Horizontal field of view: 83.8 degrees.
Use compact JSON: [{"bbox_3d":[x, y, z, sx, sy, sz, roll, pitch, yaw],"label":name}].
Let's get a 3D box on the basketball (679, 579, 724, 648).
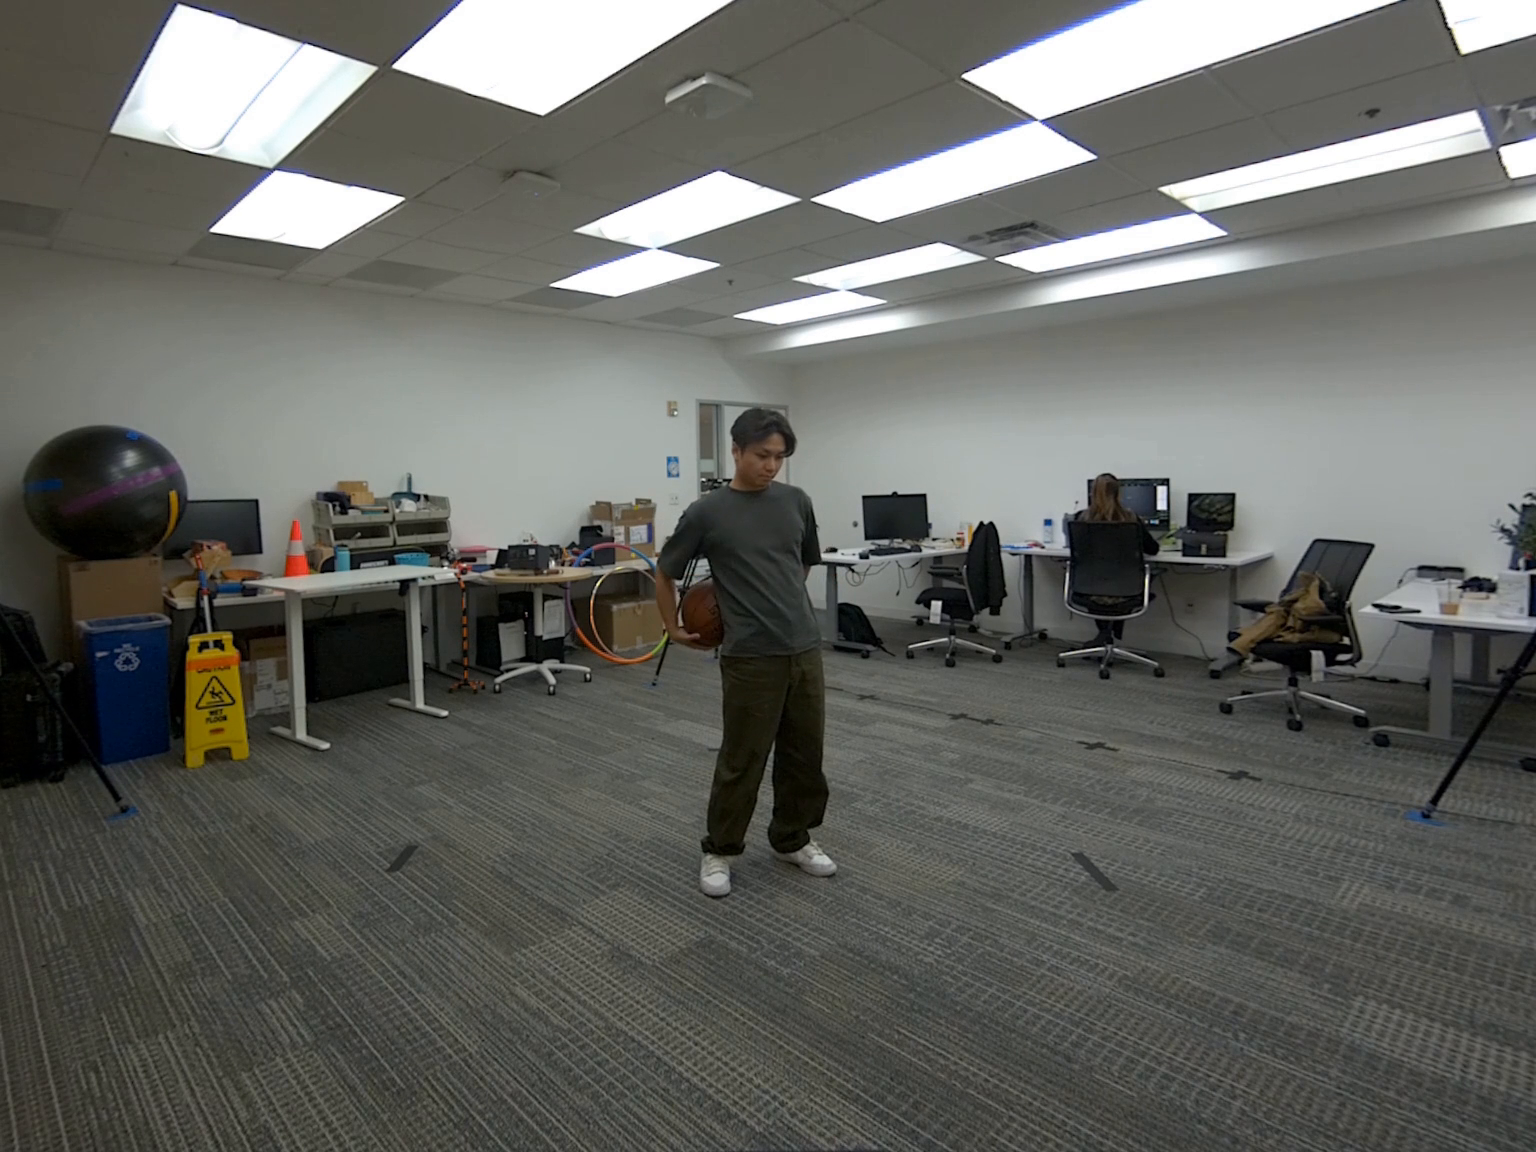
[{"bbox_3d":[-0.186,0.124,3.071,0.236,0.235,0.237,-1,5,-2],"label":"basketball"}]
